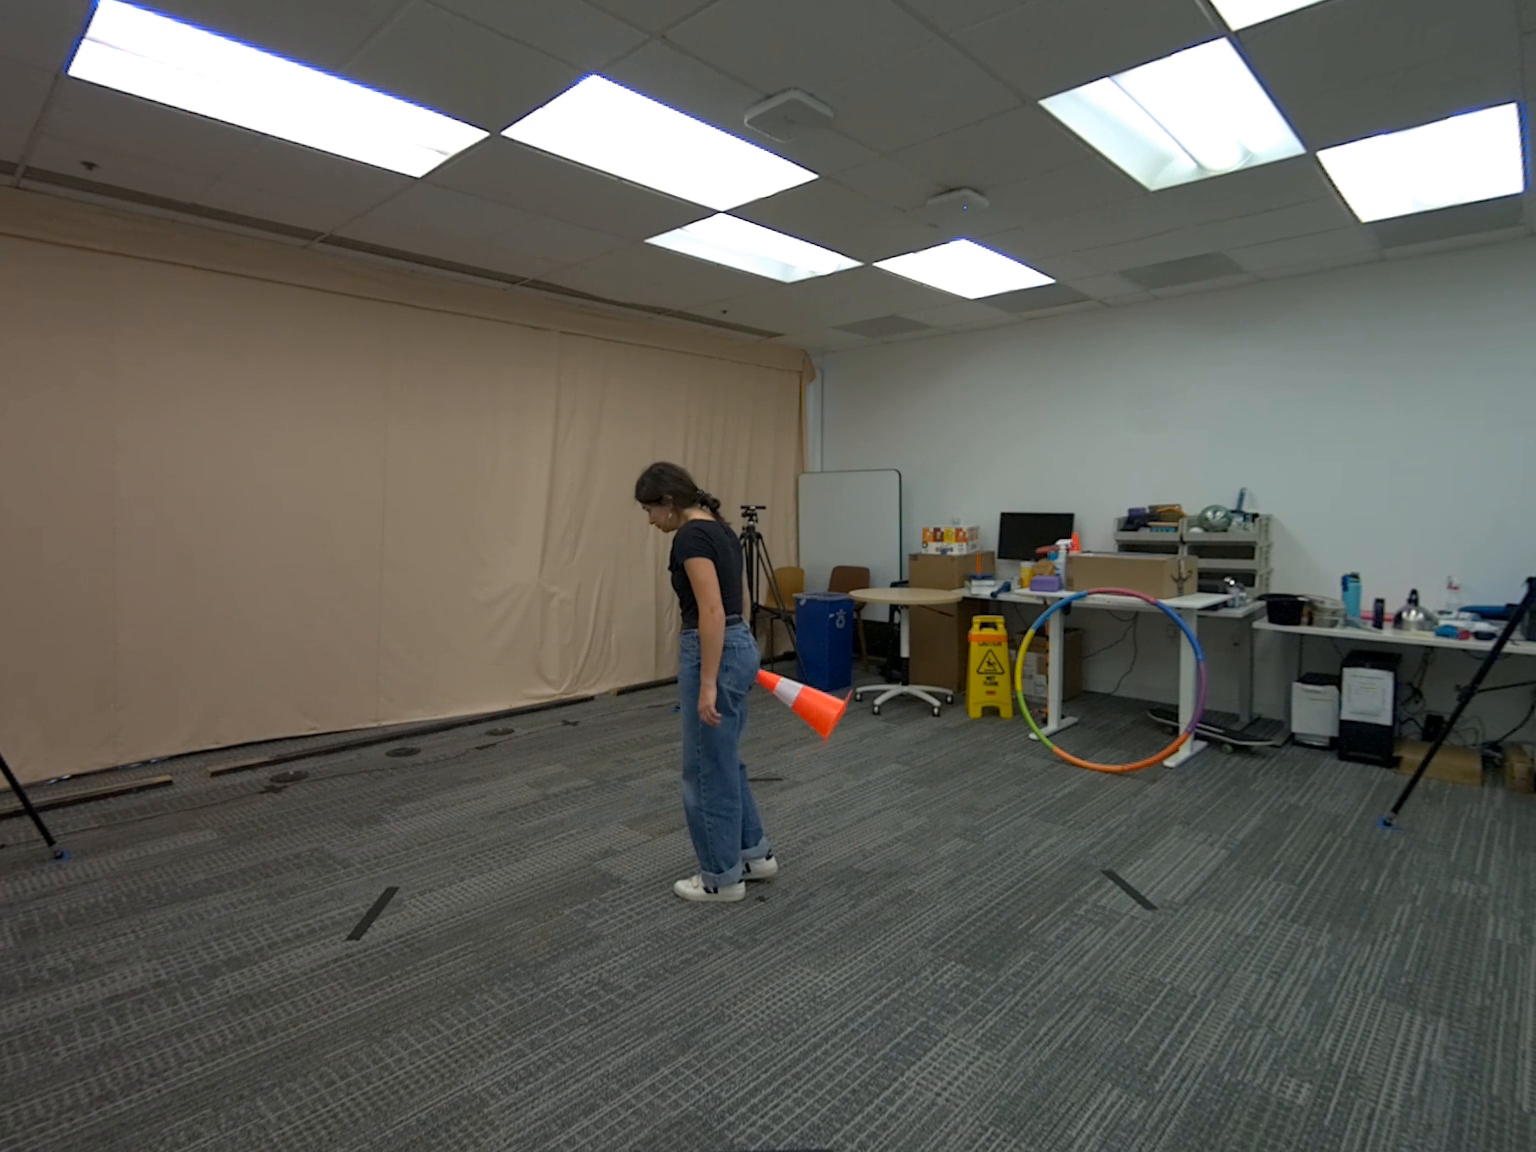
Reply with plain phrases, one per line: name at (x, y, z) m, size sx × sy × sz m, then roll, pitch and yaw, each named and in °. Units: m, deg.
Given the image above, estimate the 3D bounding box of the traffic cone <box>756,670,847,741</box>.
traffic cone at (0.085, 0.459, 3.212) m, size 0.391 × 0.203 × 0.202 m, roll 27°, pitch -30°, yaw 15°
